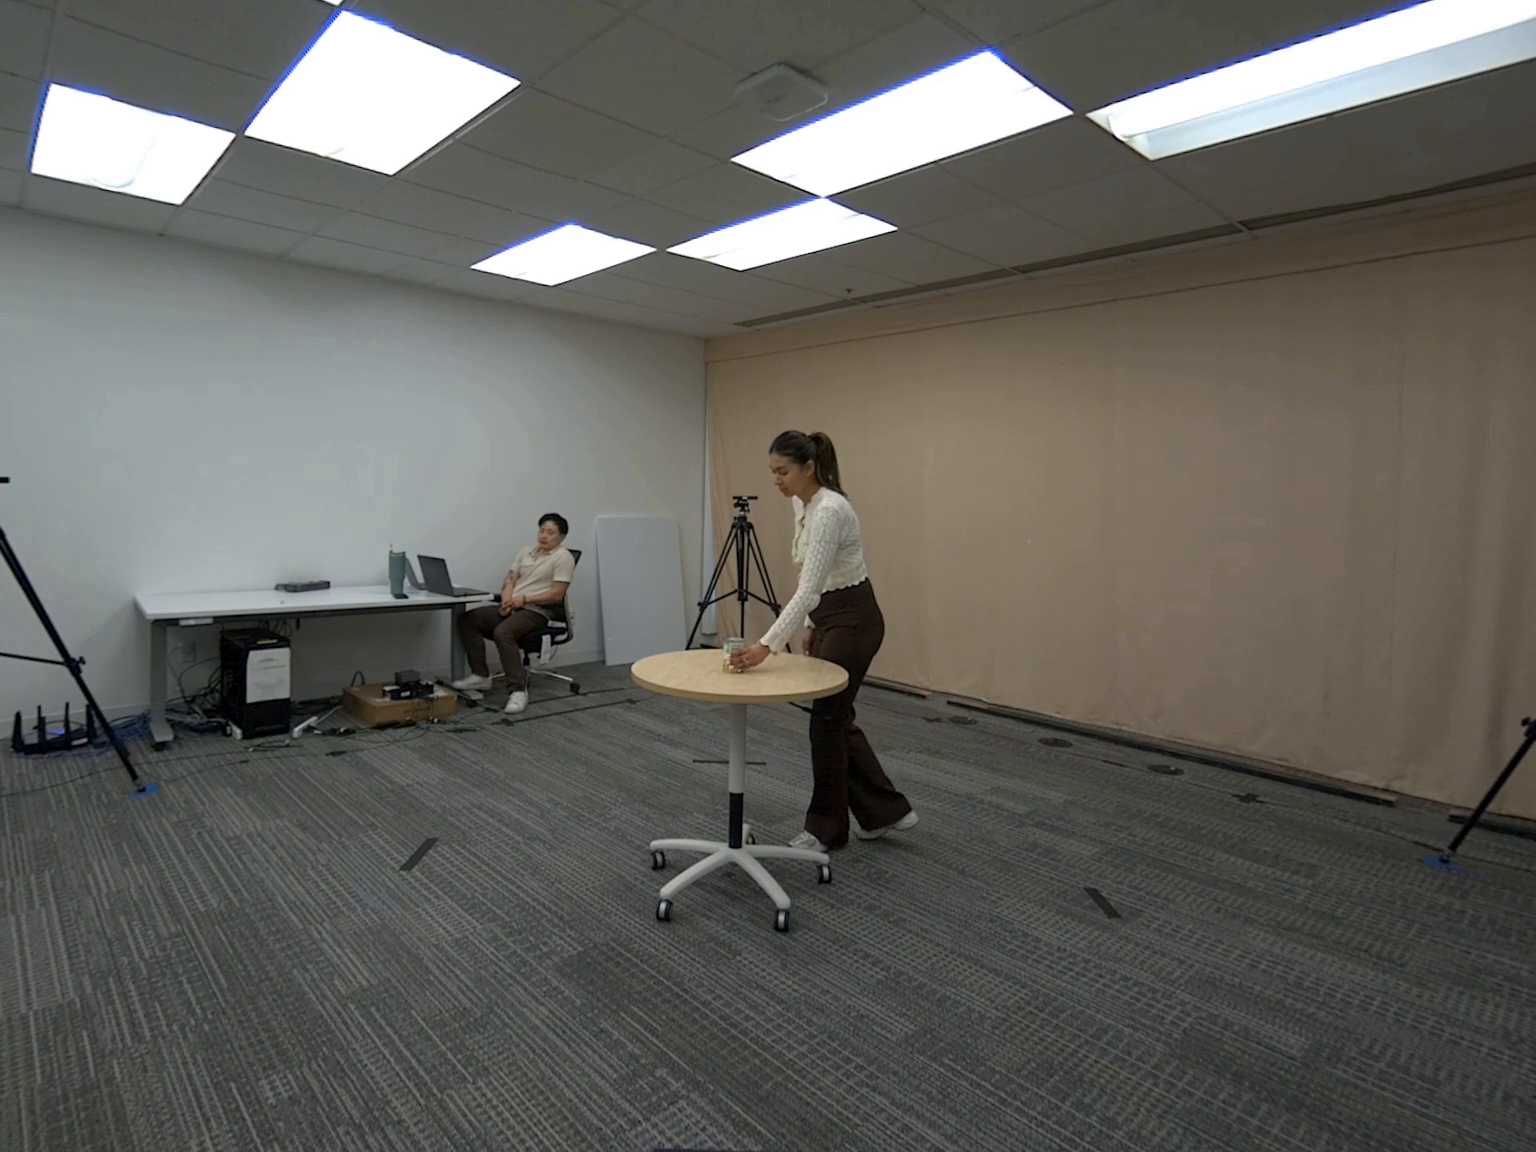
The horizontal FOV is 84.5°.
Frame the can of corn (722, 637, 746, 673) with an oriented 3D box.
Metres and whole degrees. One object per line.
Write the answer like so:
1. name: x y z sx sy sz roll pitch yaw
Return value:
1. can of corn: -0.128 0.275 2.947 0.074 0.111 0.074 3 3 -2
